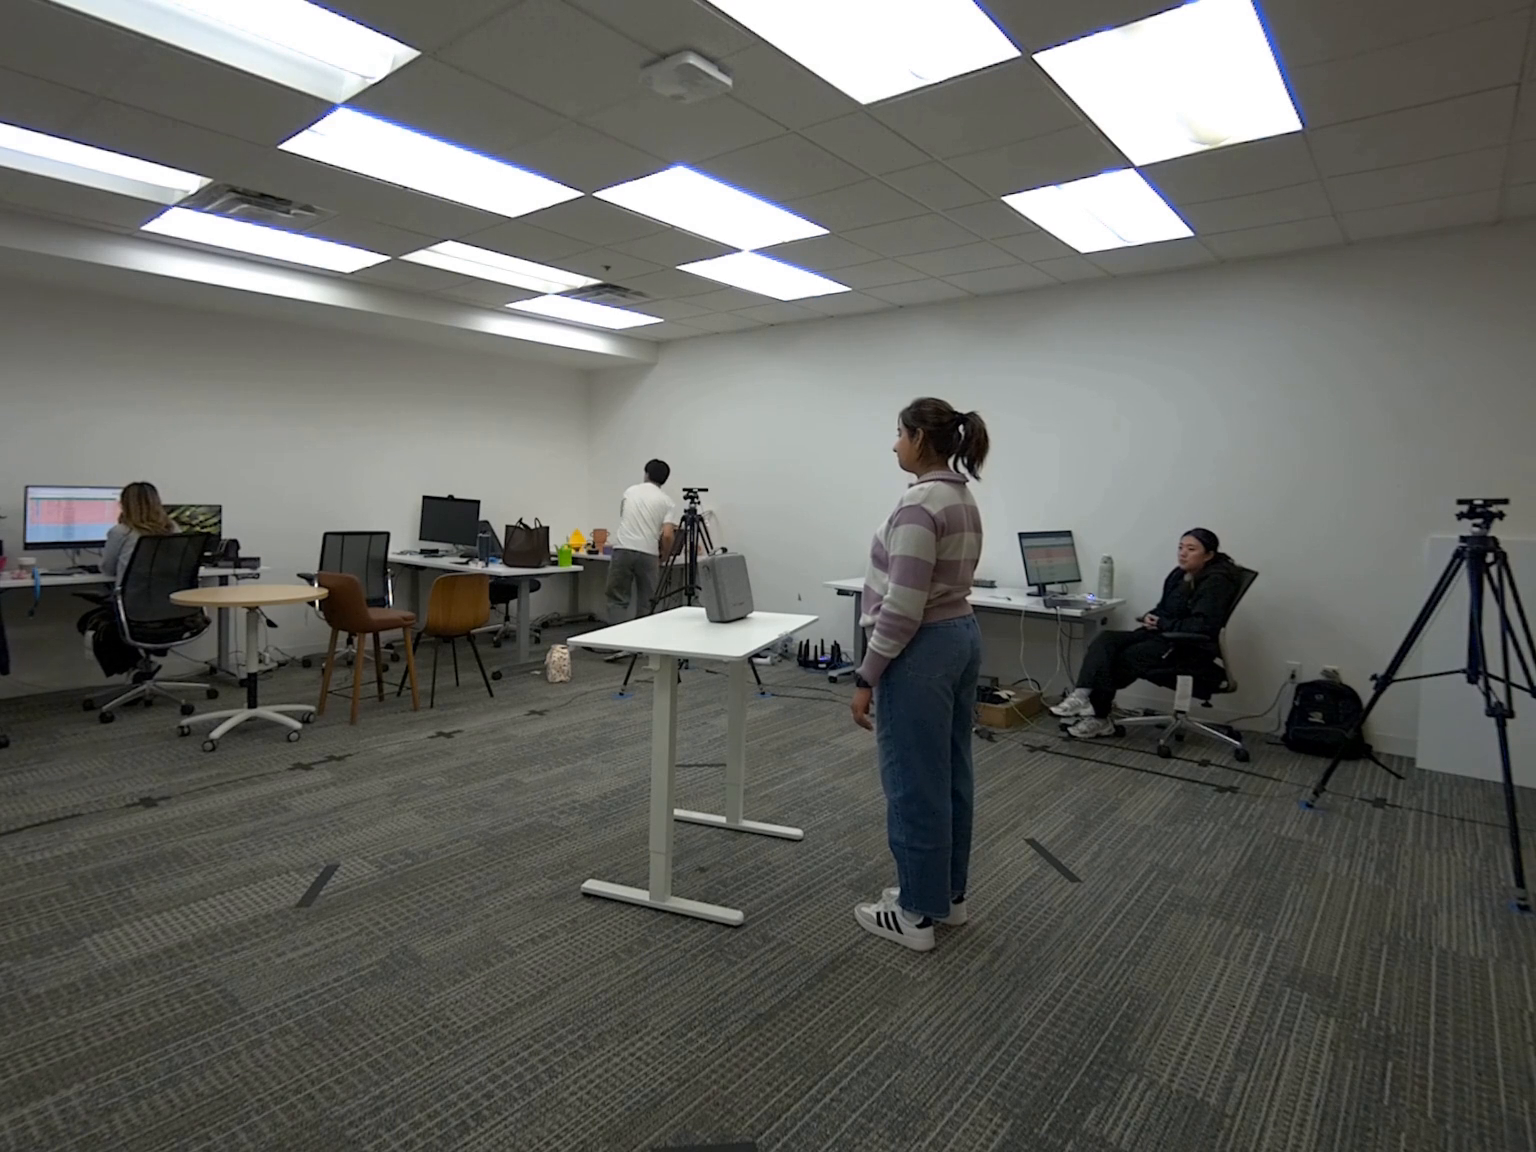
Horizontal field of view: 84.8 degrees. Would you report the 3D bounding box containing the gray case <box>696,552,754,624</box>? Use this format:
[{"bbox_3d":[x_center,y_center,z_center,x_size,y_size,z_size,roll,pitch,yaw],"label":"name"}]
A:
[{"bbox_3d":[-0.175,0.036,3.329,0.106,0.262,0.251,-10,-3,24],"label":"gray case"}]
